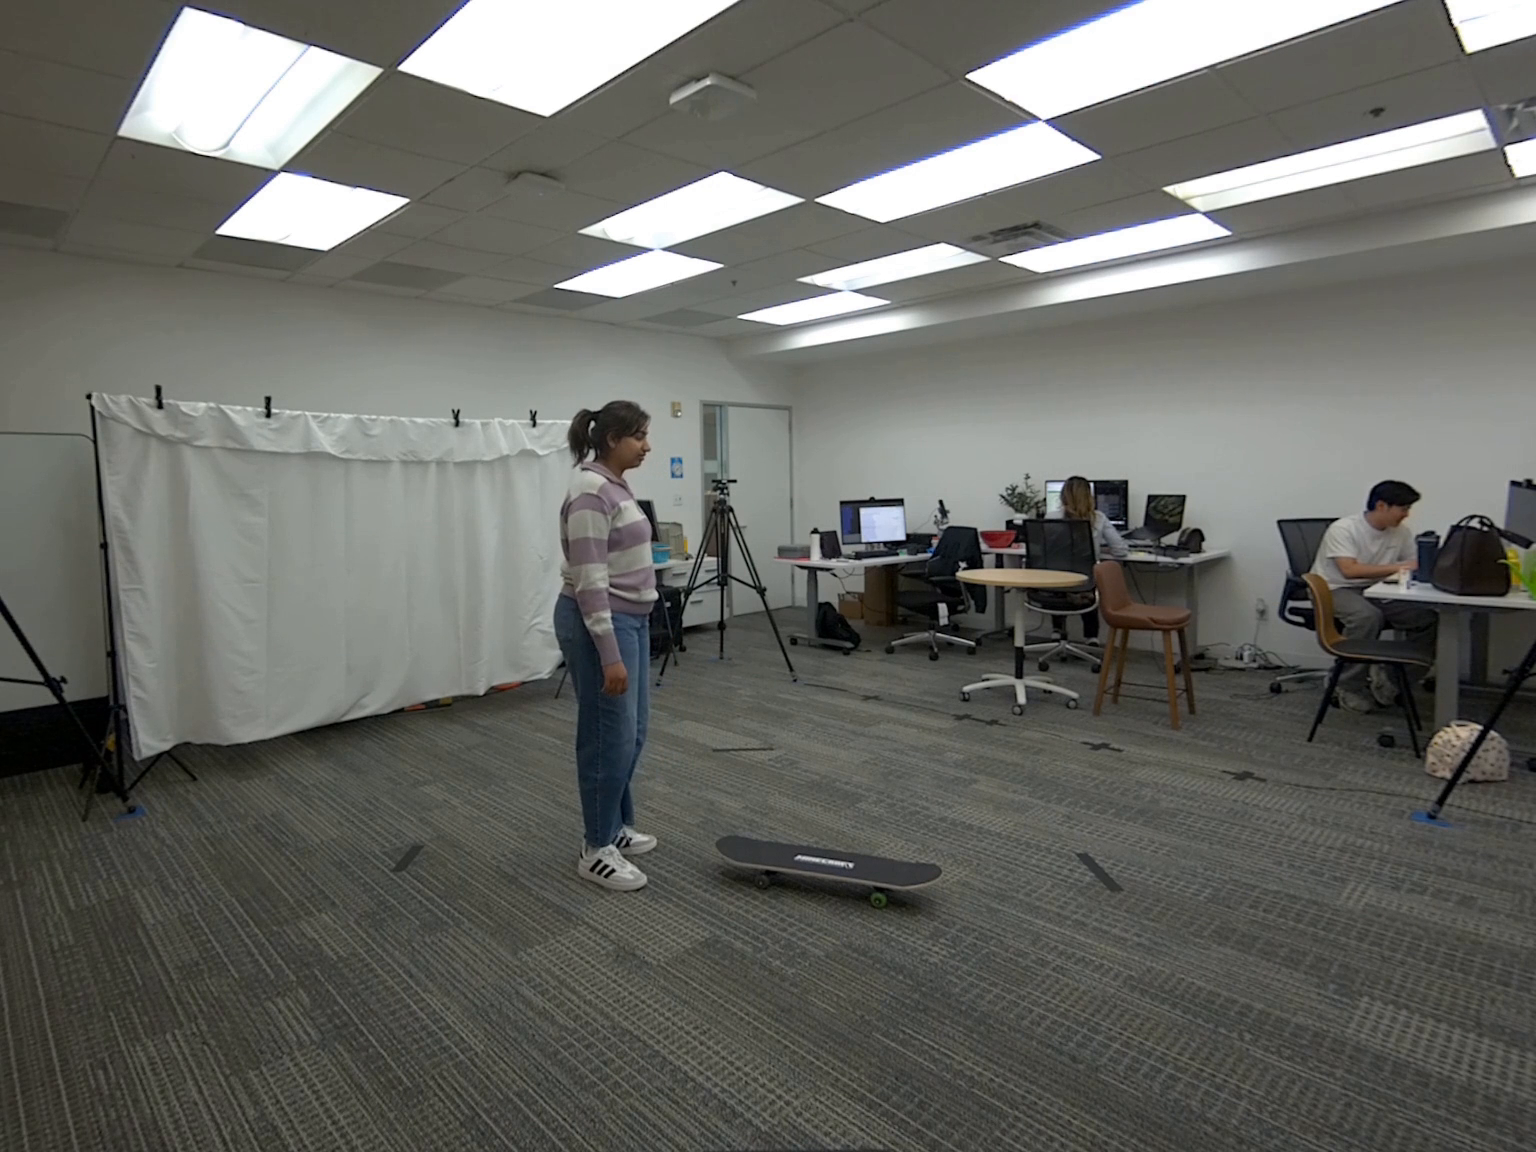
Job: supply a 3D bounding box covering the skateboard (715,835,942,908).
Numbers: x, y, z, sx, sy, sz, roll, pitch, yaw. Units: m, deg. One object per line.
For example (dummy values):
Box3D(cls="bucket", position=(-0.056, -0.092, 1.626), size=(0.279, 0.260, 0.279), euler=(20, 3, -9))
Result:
Box3D(cls="skateboard", position=(0.192, 1.000, 2.910), size=(0.801, 0.110, 0.191), euler=(1, 6, 20))
